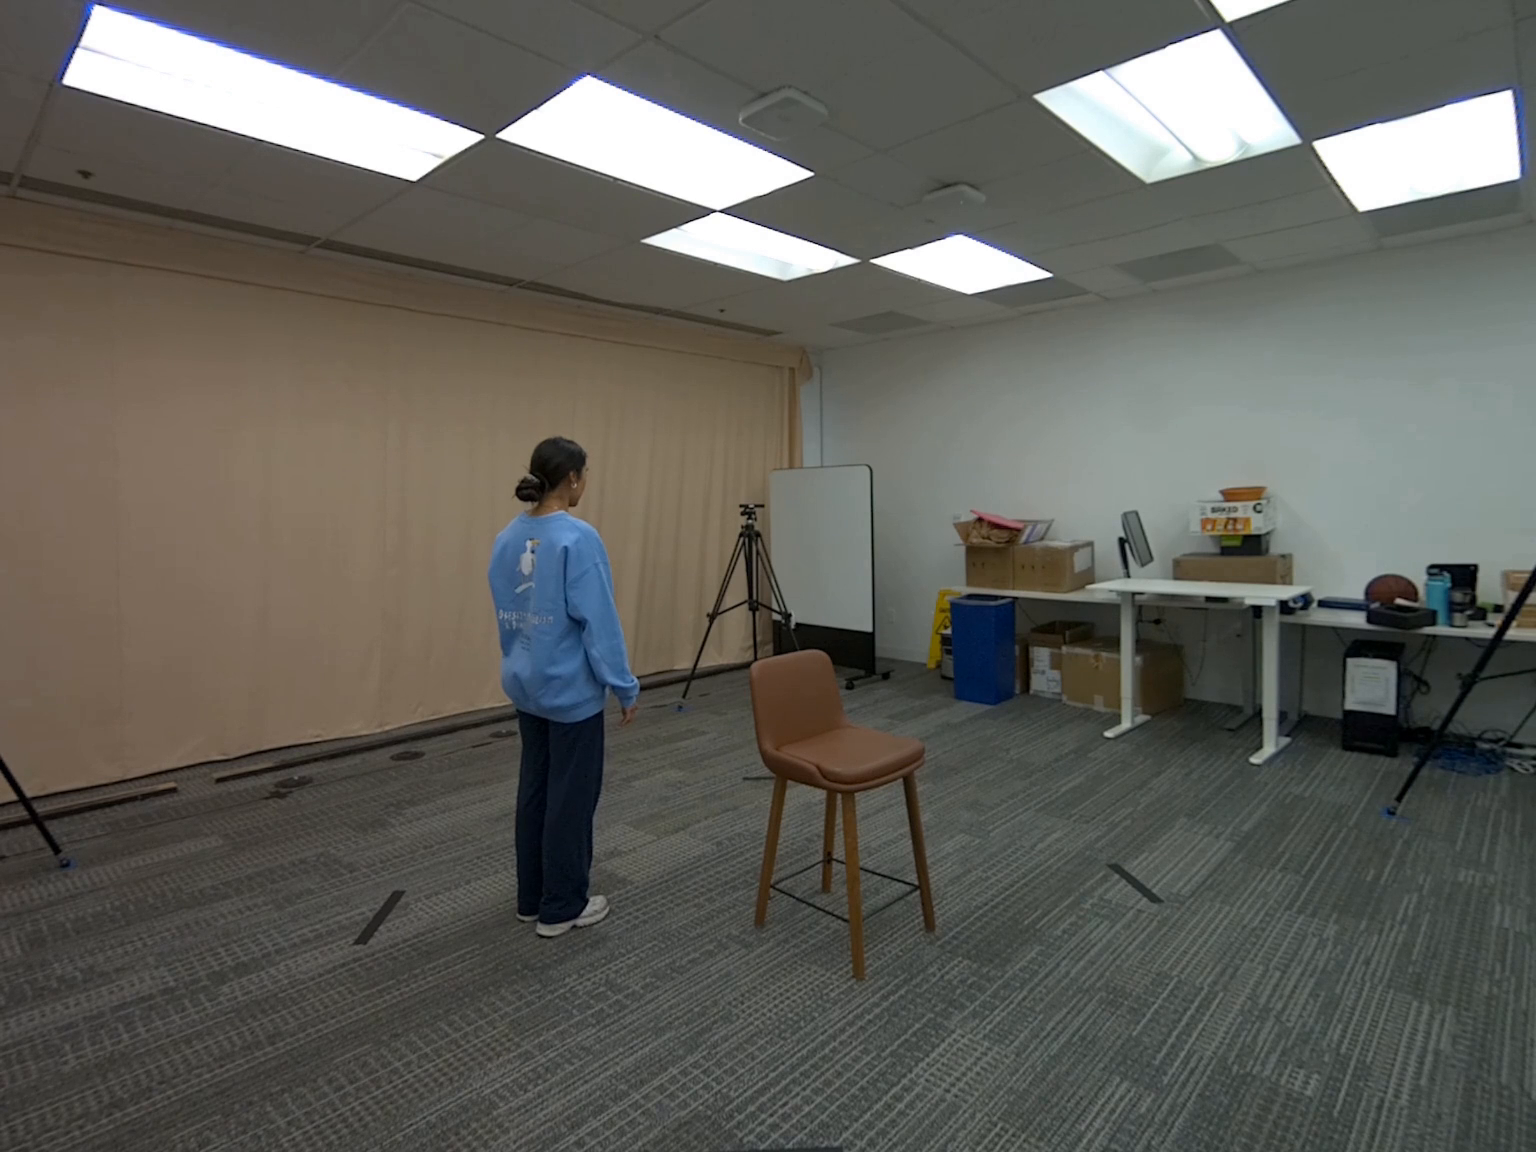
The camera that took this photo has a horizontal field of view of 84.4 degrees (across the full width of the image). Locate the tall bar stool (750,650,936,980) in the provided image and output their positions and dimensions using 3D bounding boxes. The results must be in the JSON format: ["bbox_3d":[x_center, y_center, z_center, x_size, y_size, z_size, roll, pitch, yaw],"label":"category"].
[{"bbox_3d":[0.235,0.723,2.729,0.443,0.888,0.483,-5,3,-44],"label":"tall bar stool"}]
